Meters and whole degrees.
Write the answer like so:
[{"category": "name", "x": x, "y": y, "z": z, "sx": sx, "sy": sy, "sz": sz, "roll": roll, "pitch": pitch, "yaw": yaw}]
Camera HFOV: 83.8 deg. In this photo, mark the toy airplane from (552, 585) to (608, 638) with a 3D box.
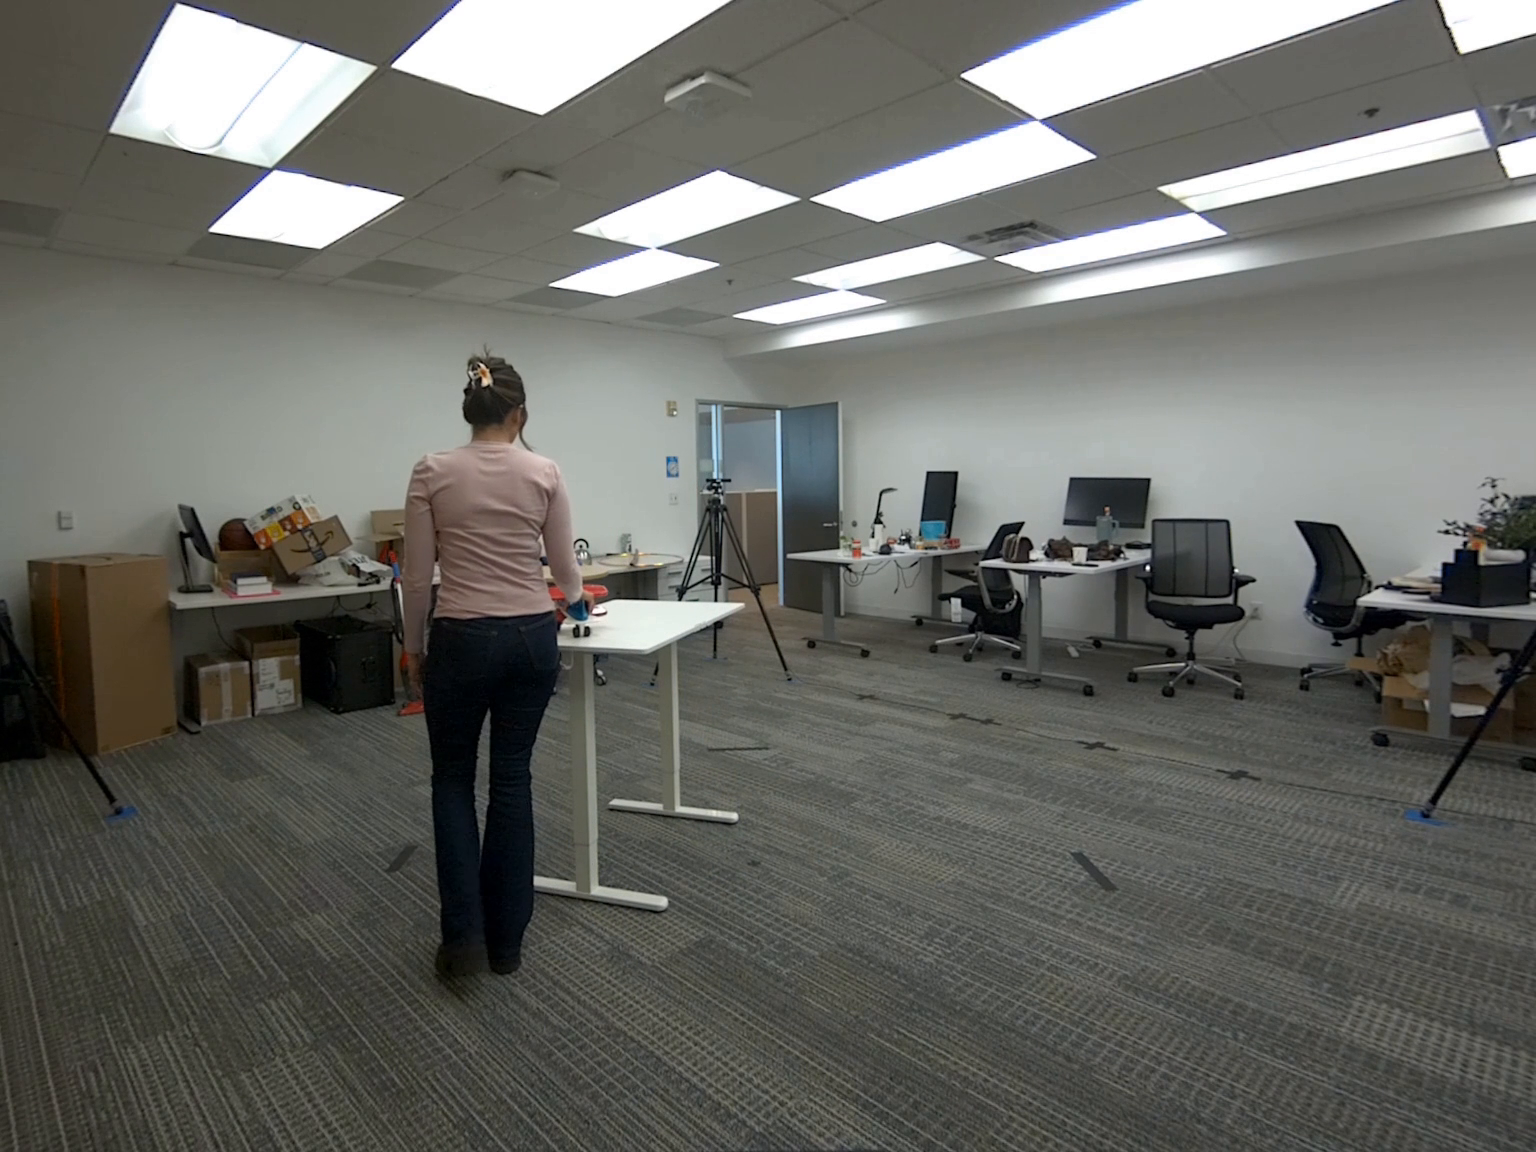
[{"category": "toy airplane", "x": -0.650, "y": 0.117, "z": 2.934, "sx": 0.267, "sy": 0.156, "sz": 0.245, "roll": 3, "pitch": 7, "yaw": 38}]
